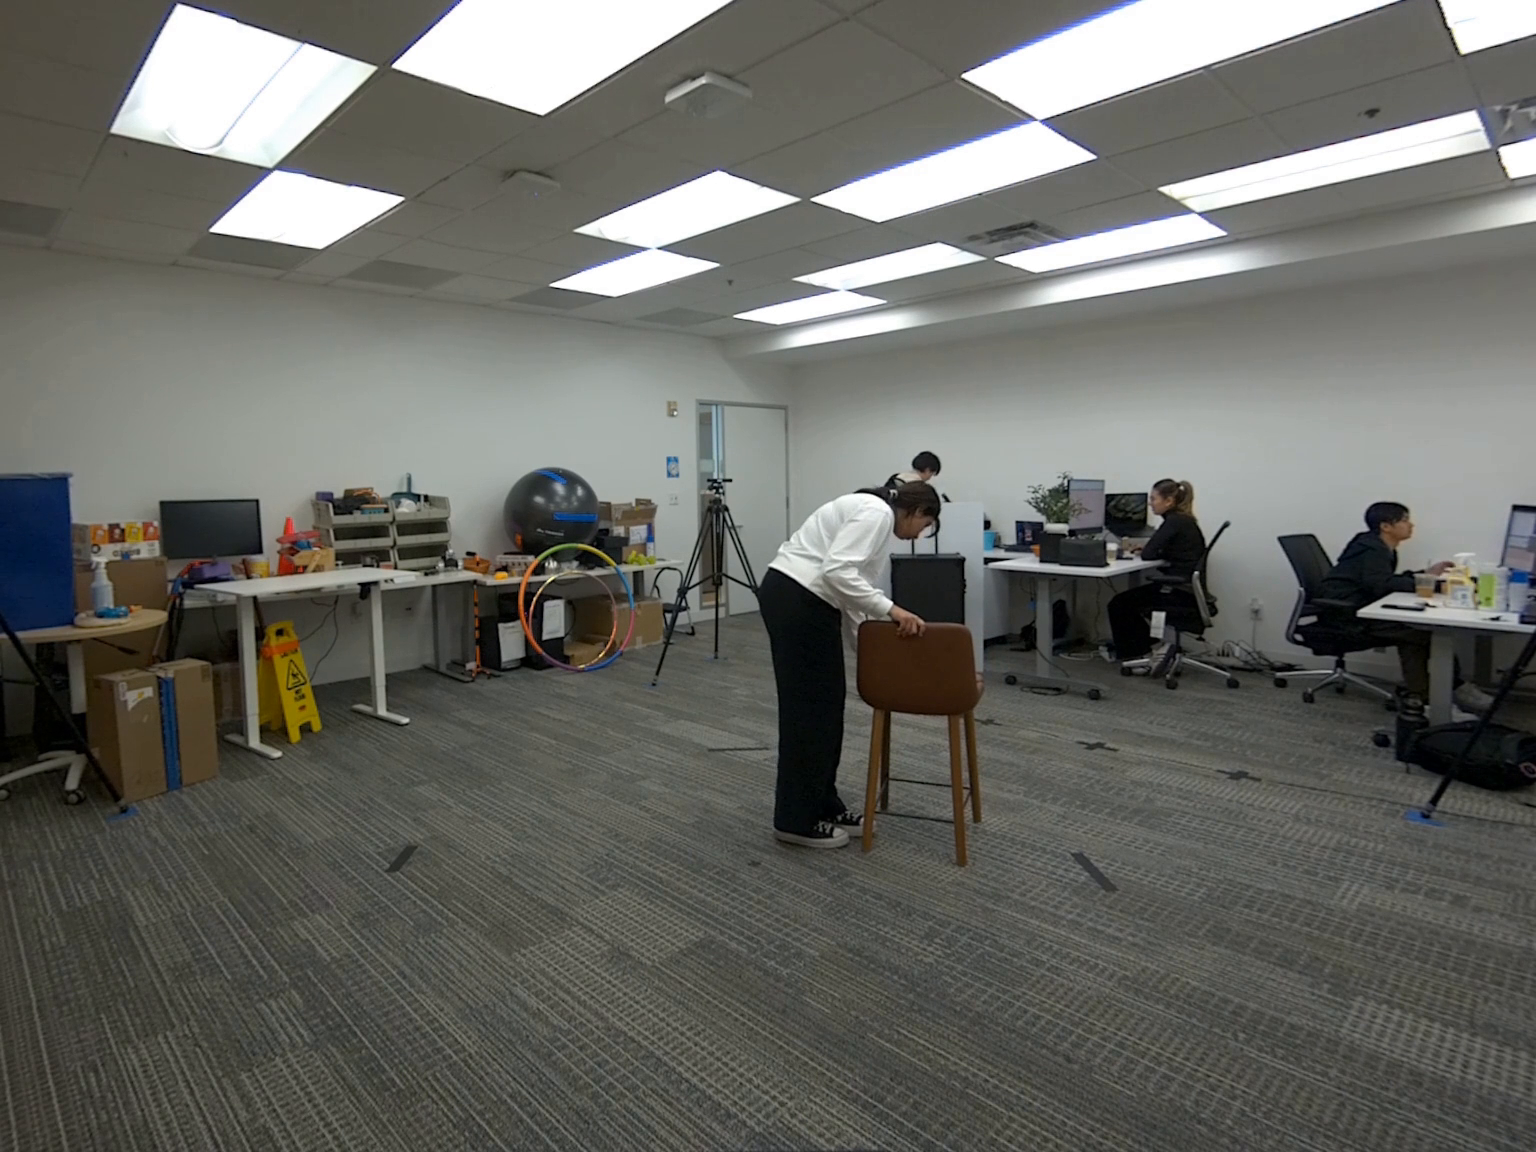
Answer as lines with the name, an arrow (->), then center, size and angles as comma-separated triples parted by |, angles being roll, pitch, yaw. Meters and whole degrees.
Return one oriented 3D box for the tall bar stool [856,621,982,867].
tall bar stool -> 0.589, 0.571, 3.292 | 0.466, 0.885, 0.461 | 1, 6, 21
